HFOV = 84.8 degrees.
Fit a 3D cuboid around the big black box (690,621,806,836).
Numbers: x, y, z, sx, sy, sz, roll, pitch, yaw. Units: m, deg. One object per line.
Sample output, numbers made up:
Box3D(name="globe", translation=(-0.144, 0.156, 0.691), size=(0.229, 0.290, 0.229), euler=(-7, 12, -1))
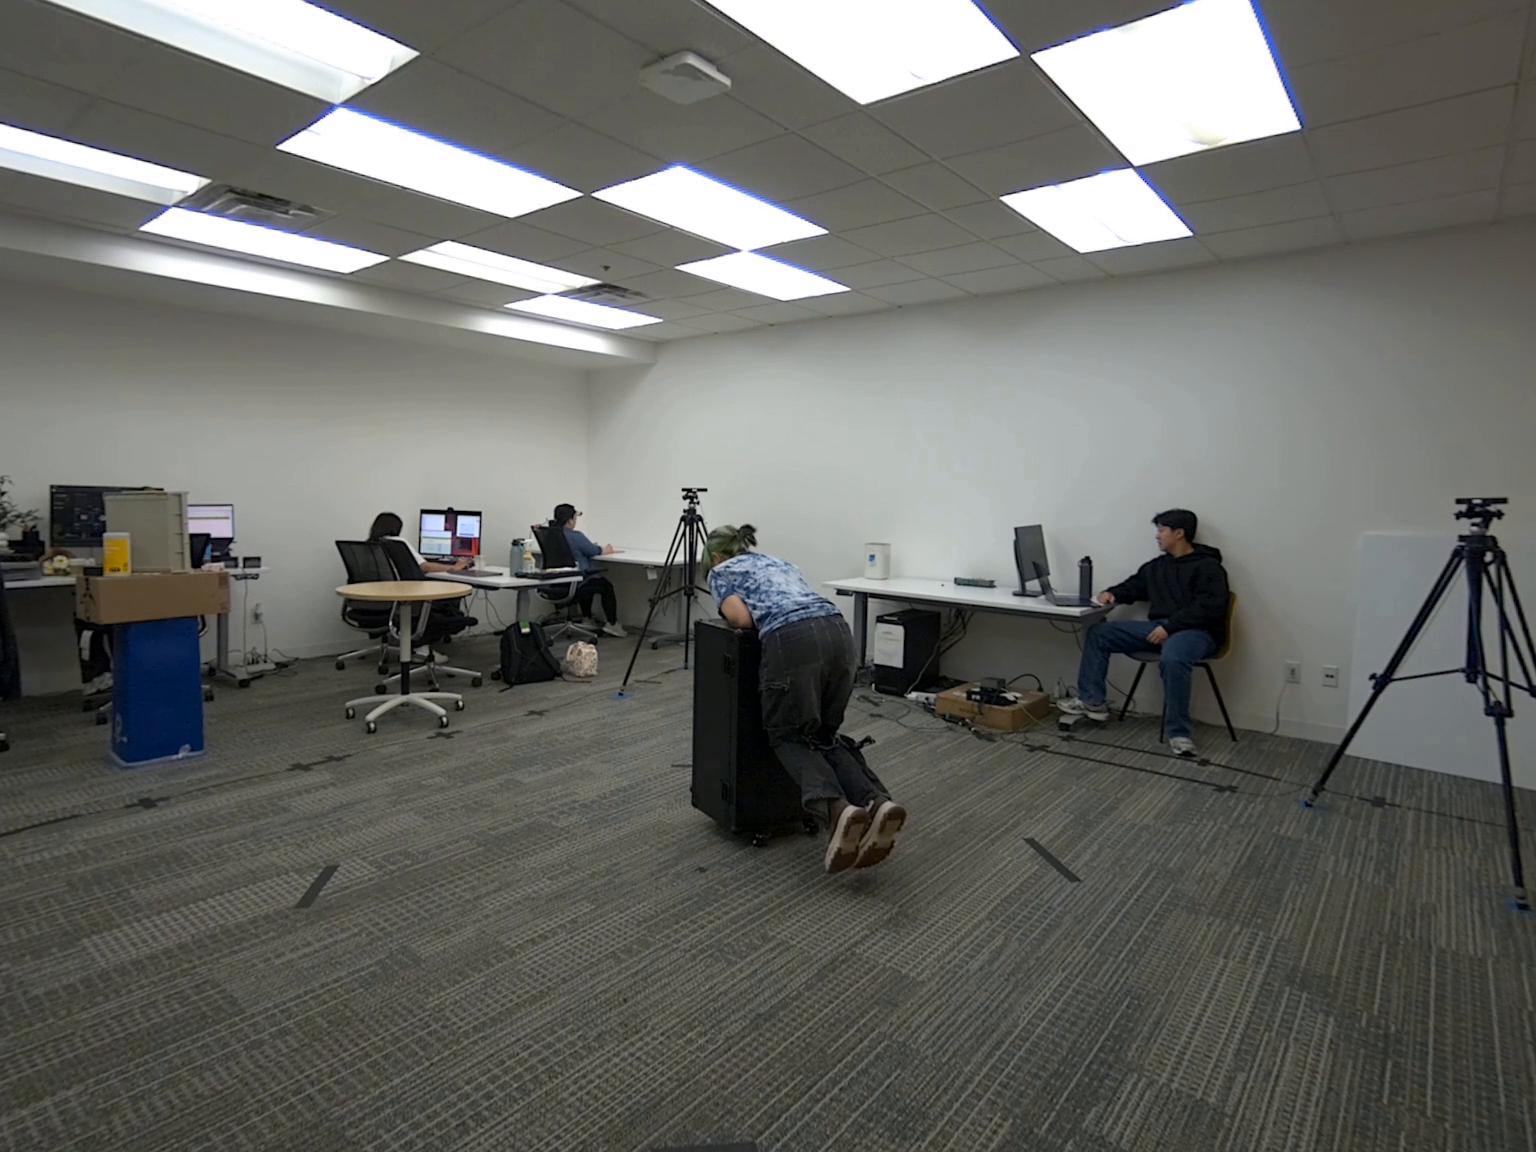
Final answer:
Box3D(name="big black box", translation=(-0.034, 0.556, 3.517), size=(0.507, 0.860, 0.408), euler=(-1, 3, -32))
